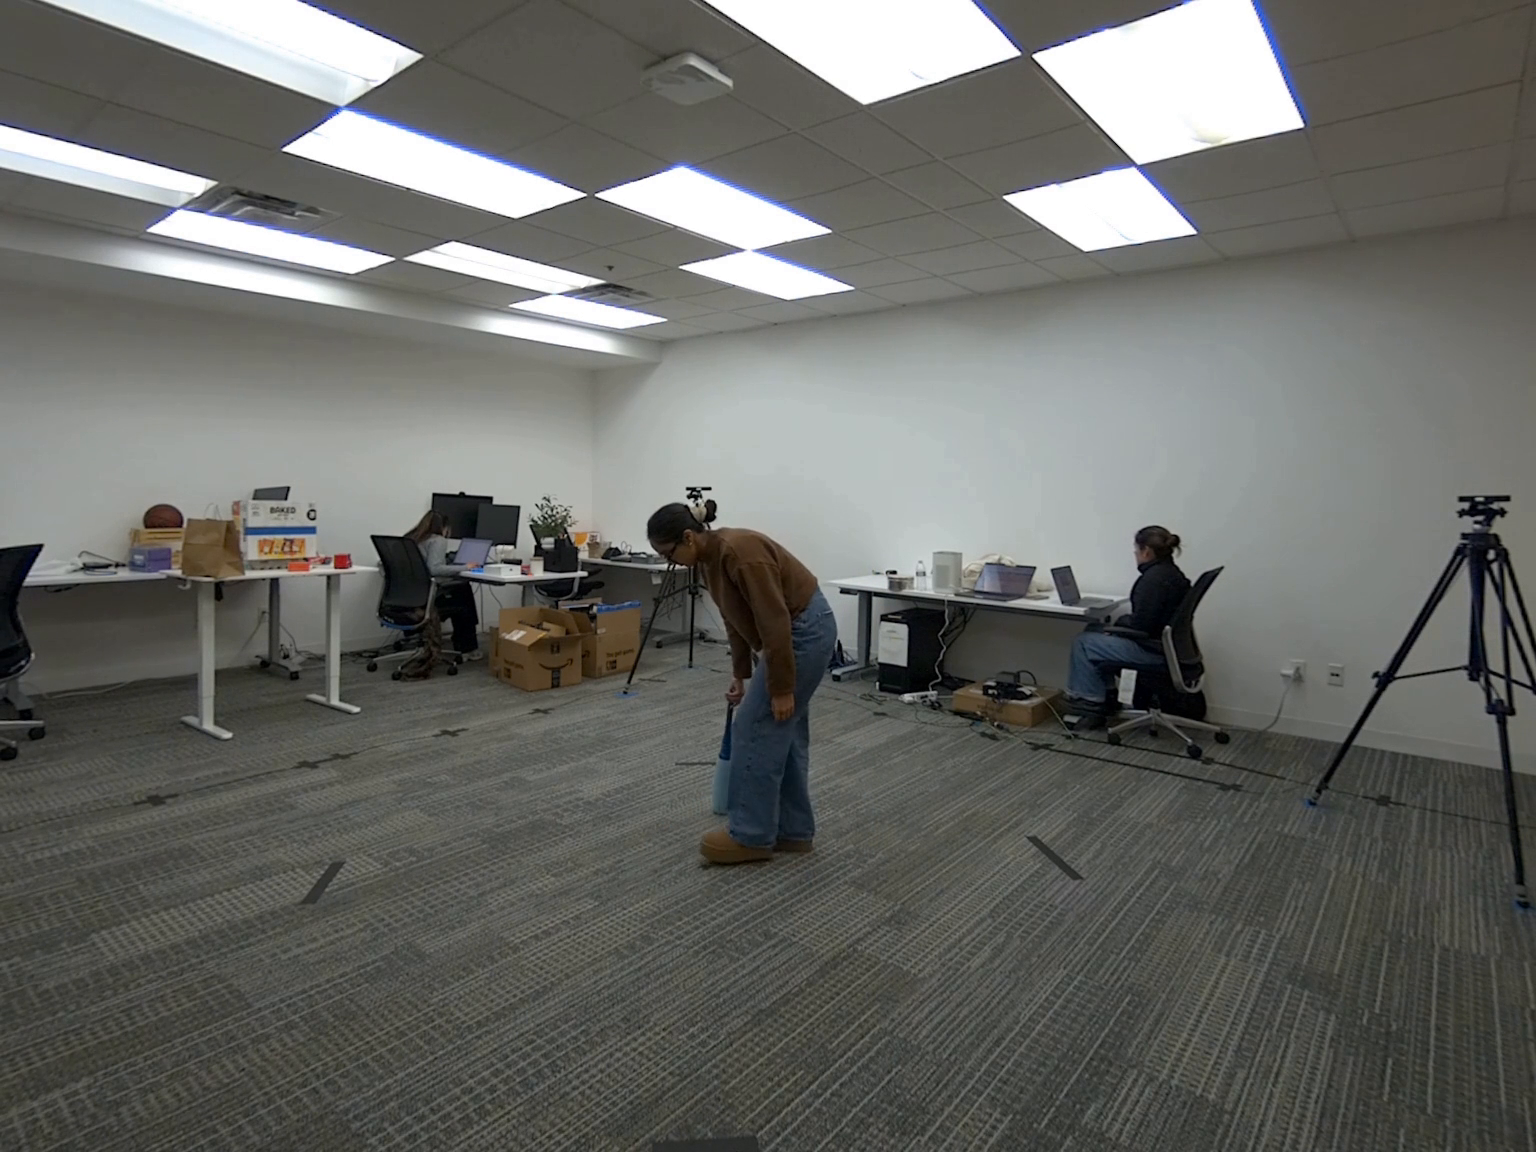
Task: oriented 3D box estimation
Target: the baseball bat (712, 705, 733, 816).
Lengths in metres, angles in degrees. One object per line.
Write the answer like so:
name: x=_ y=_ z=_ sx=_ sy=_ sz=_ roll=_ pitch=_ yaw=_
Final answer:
baseball bat: x=-0.189 y=0.752 z=3.595 sx=0.089 sy=0.537 sz=0.090 roll=4 pitch=11 yaw=-3
